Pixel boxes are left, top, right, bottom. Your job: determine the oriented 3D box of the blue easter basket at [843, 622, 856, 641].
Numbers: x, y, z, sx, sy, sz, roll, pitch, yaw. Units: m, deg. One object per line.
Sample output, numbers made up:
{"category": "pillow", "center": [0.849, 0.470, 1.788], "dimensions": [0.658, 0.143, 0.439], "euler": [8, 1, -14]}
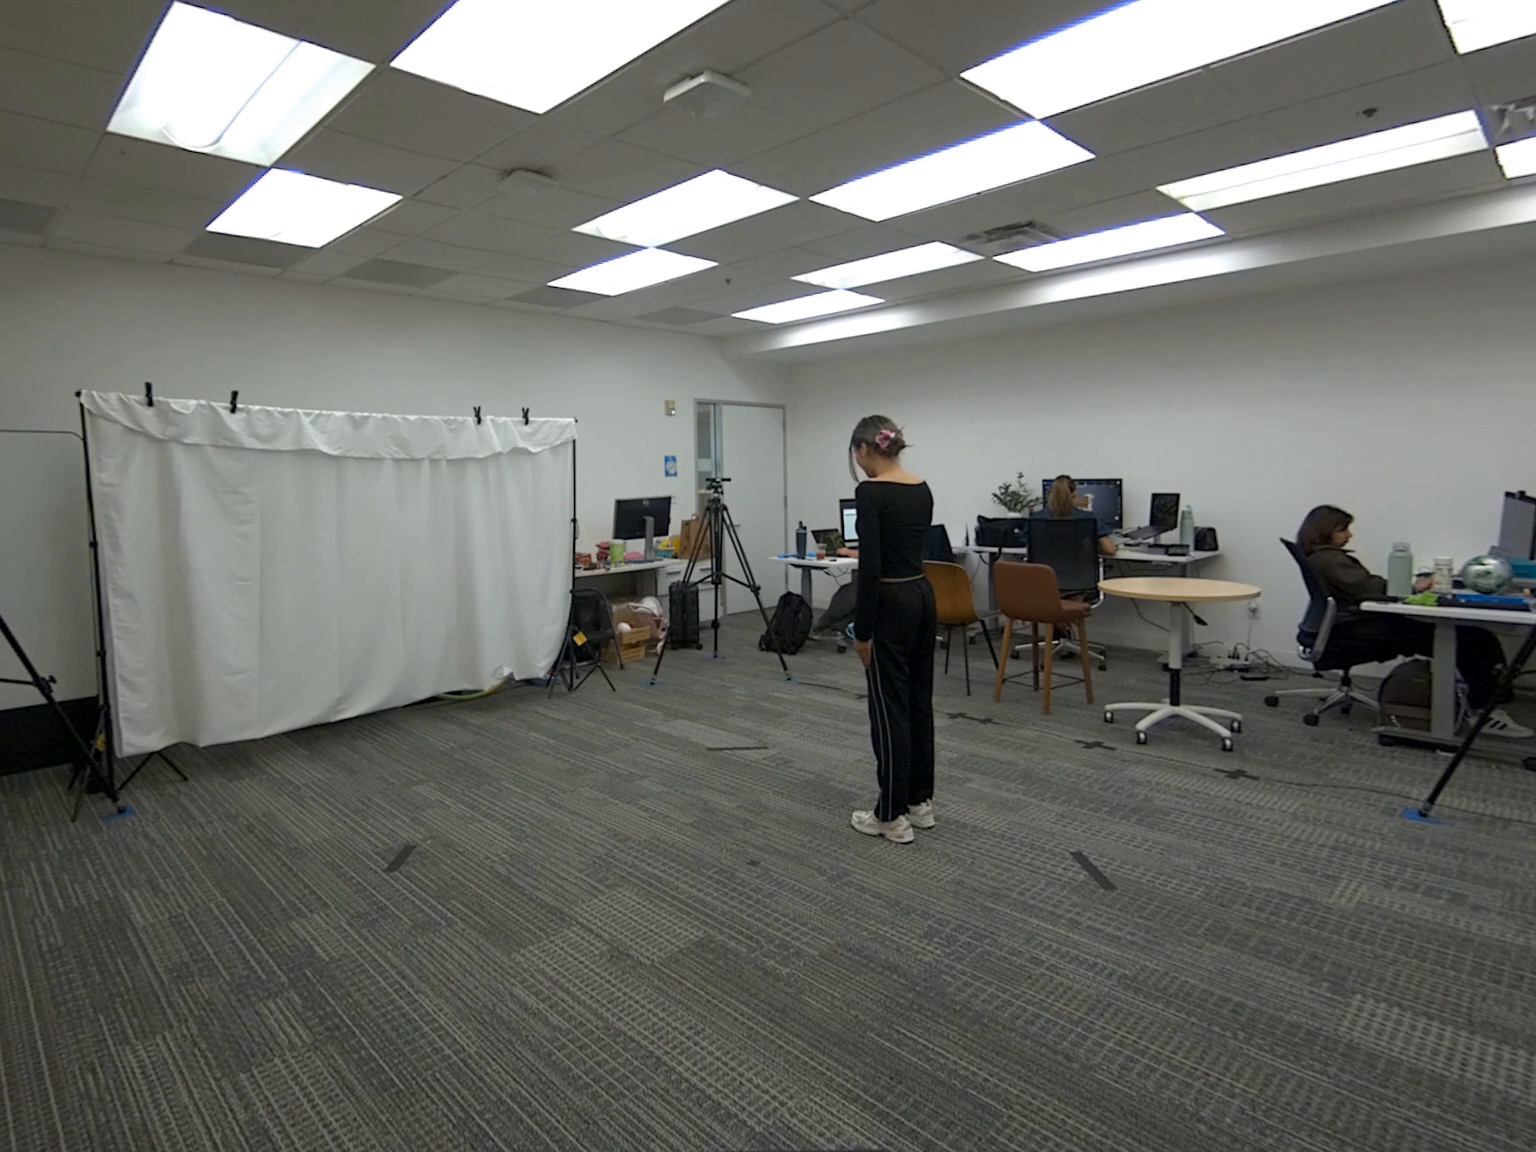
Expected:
{"category": "blue easter basket", "center": [0.487, 0.270, 3.756], "dimensions": [0.243, 0.156, 0.244], "euler": [-11, 1, -2]}
